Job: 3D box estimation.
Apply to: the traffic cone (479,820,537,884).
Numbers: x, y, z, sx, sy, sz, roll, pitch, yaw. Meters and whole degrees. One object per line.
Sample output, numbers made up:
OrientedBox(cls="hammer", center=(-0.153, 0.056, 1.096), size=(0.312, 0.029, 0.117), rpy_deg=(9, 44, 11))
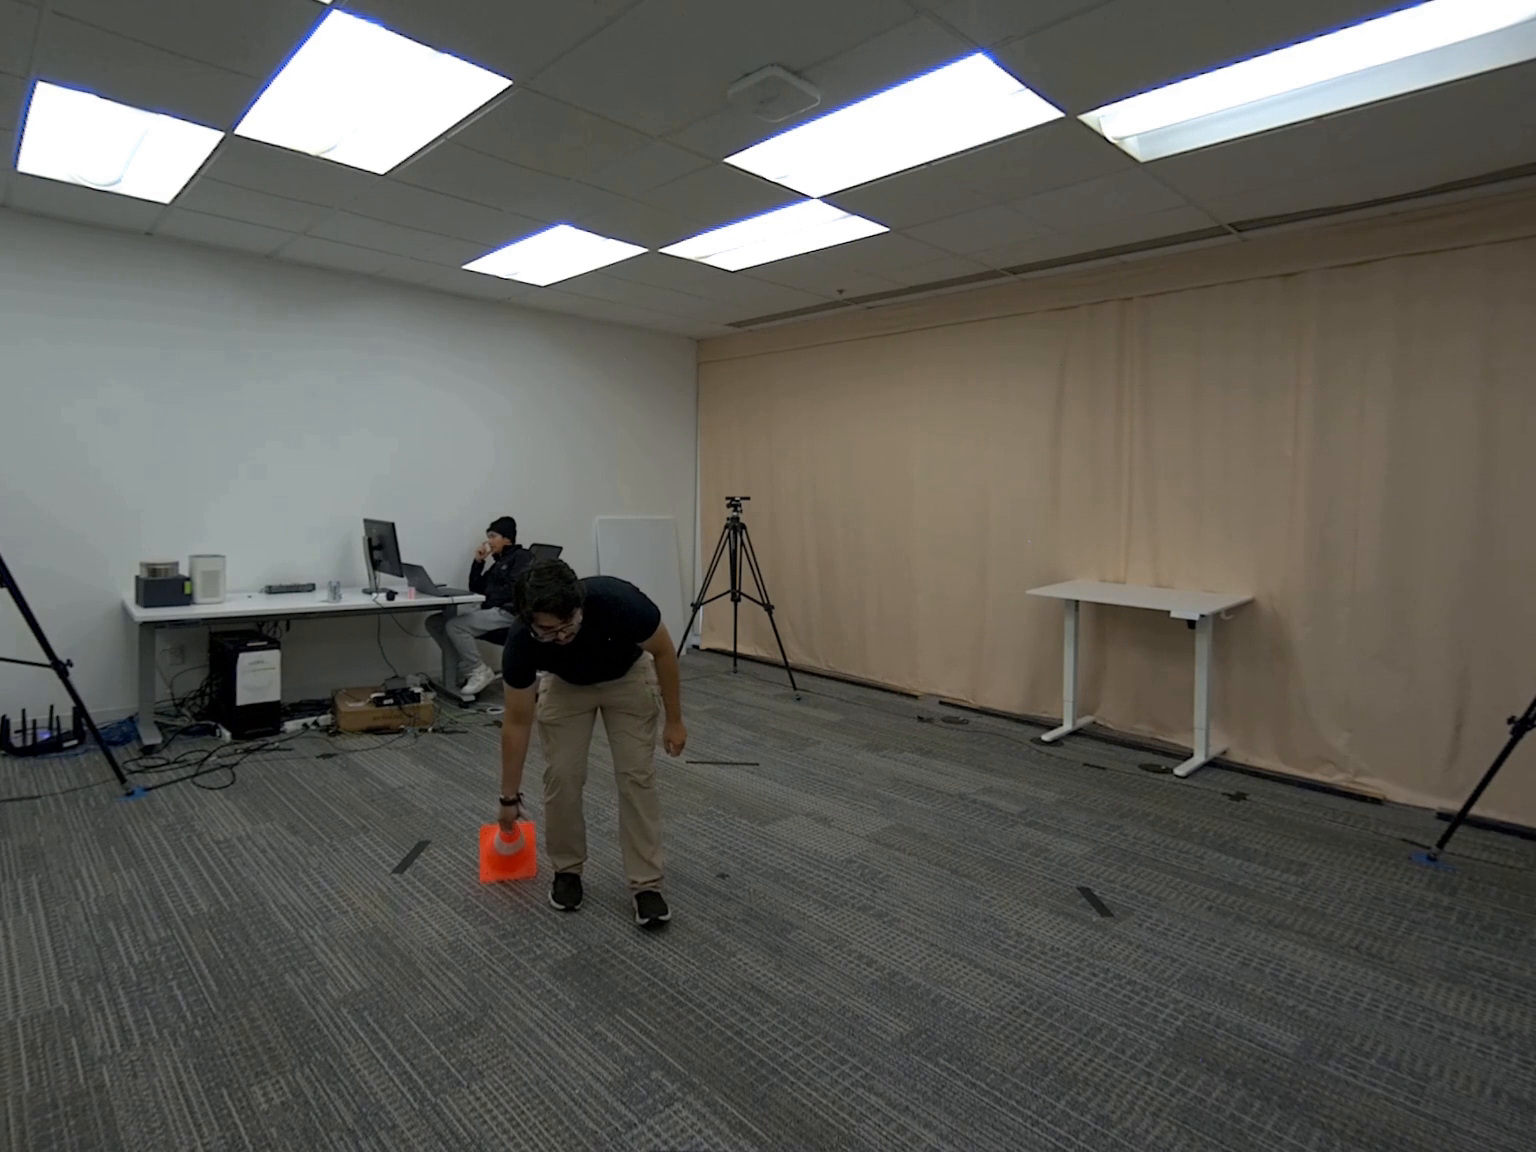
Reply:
OrientedBox(cls="traffic cone", center=(-0.914, 0.916, 2.940), size=(0.200, 0.210, 0.380), rpy_deg=(-2, -31, -20))
